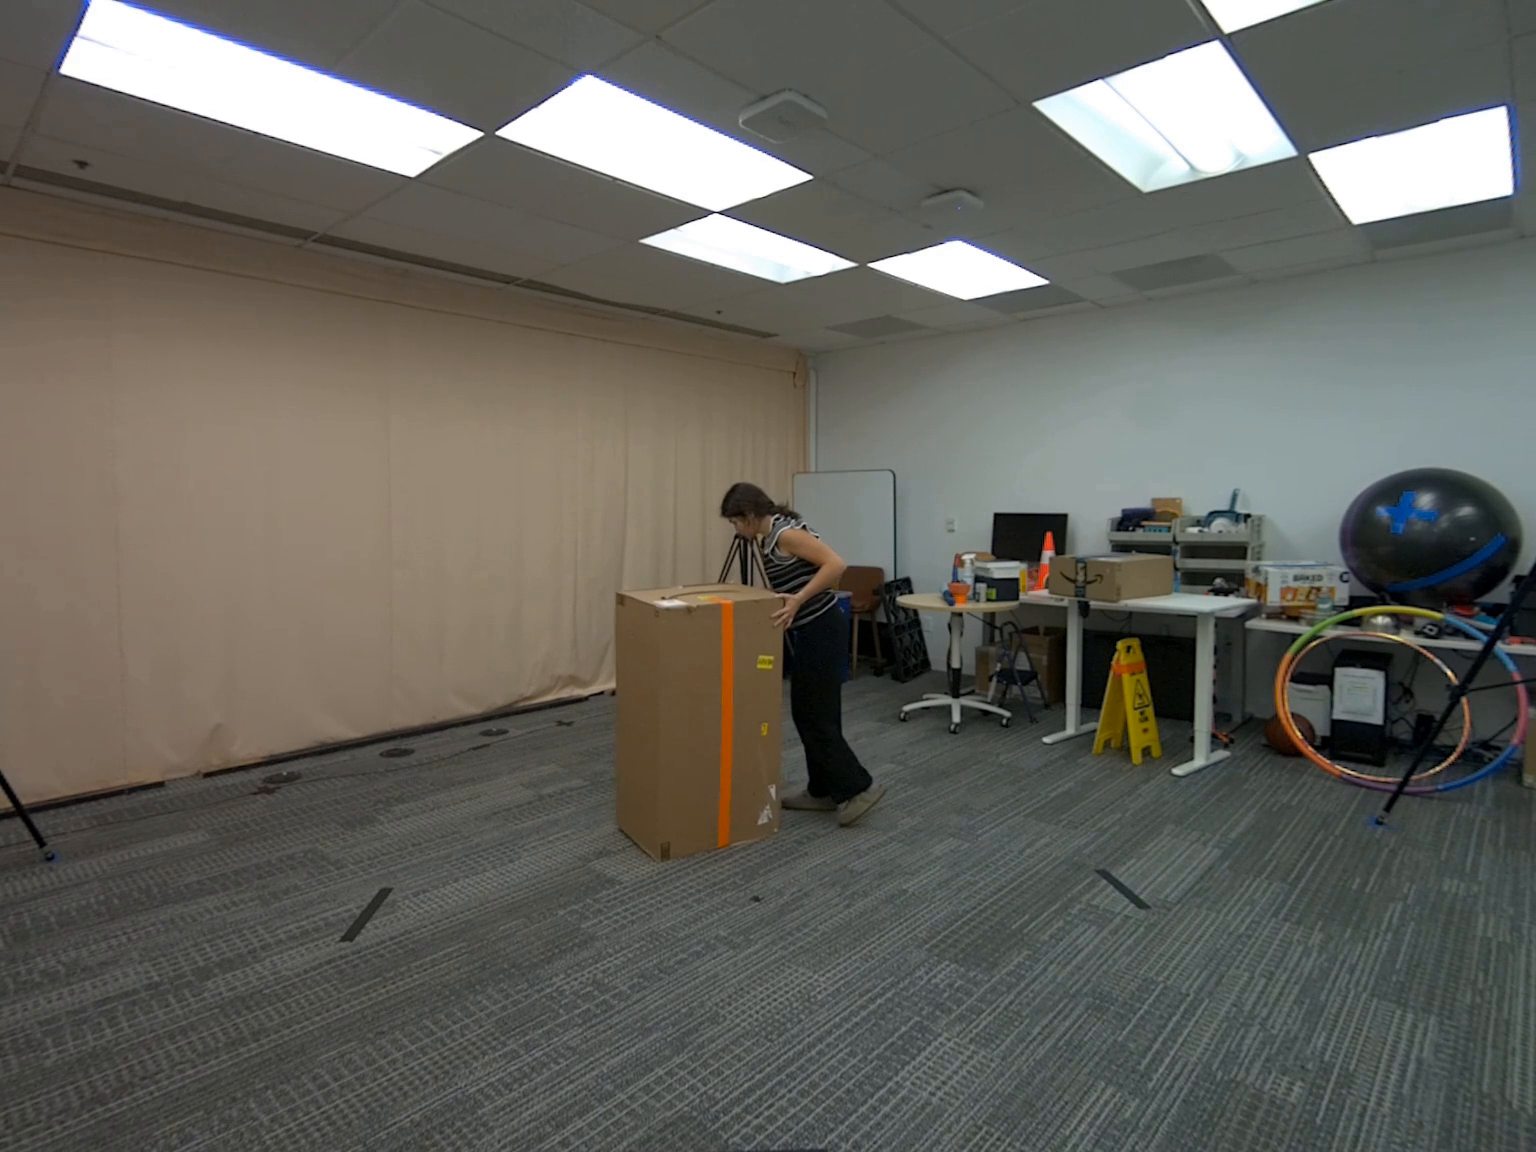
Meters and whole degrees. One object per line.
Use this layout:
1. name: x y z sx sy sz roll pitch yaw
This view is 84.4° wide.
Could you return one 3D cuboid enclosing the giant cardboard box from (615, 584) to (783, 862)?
1. giant cardboard box: -0.297 0.584 3.553 0.562 1.022 0.440 -3 8 -32
